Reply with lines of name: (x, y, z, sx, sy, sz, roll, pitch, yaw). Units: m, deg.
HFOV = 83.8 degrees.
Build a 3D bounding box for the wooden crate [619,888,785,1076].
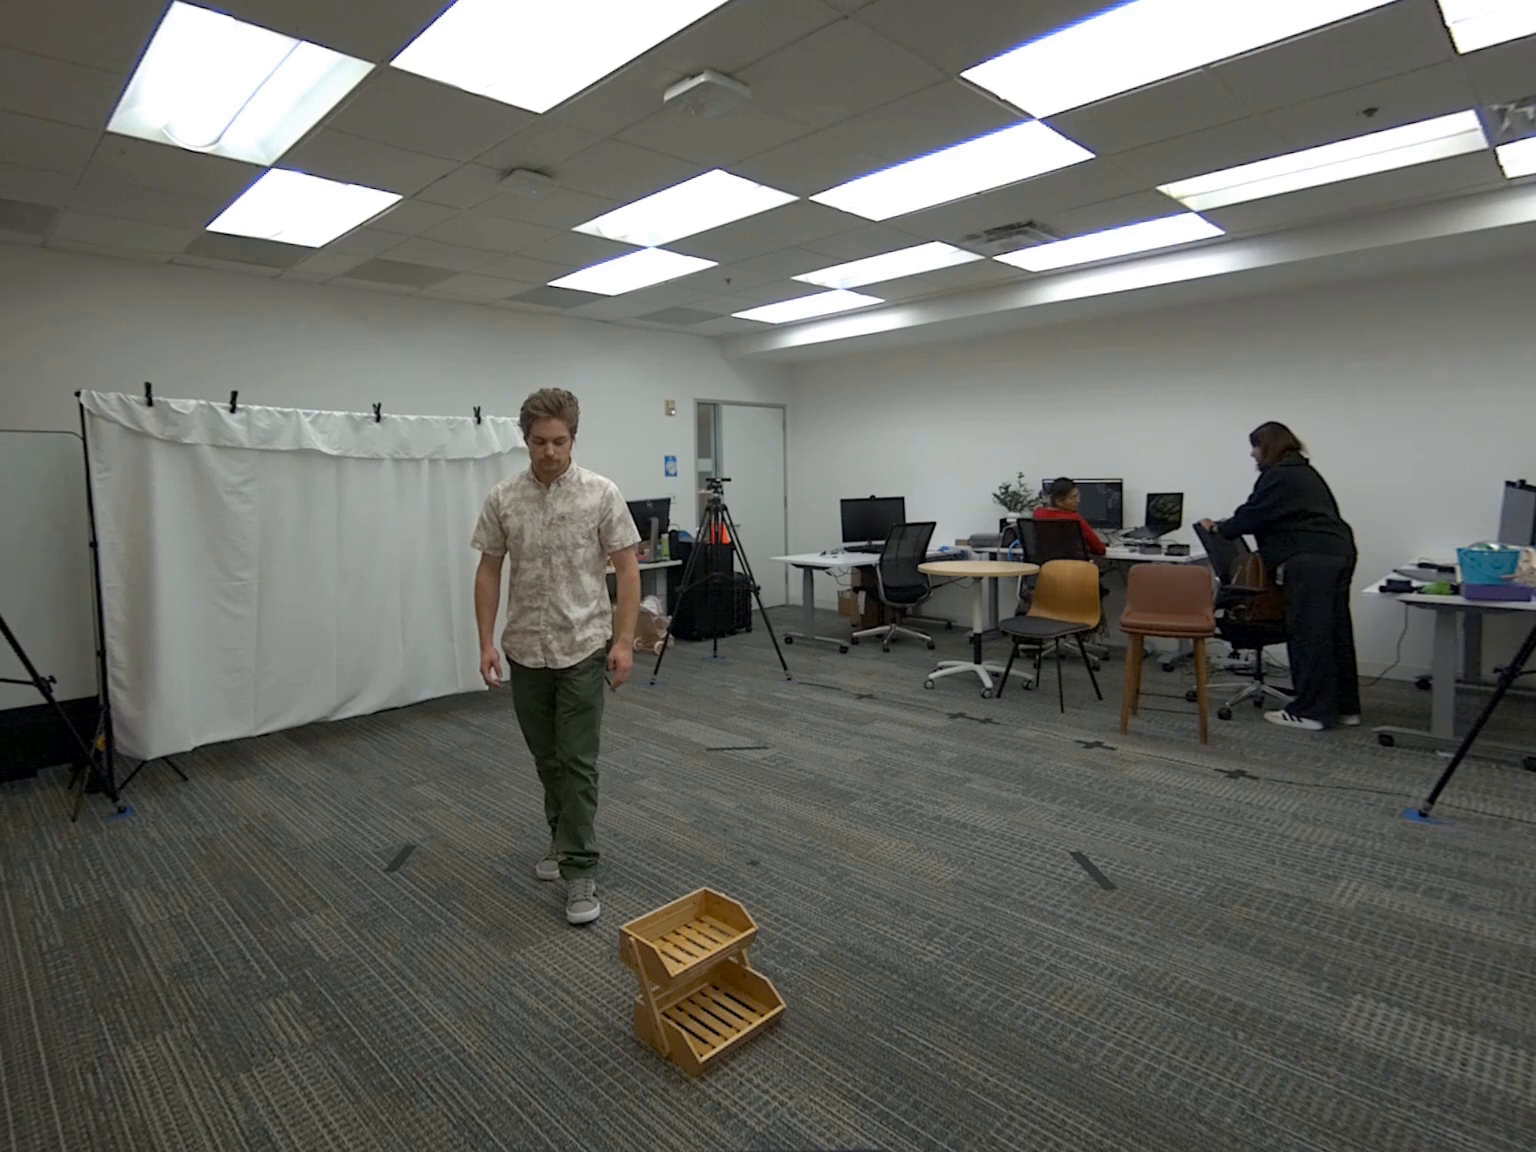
wooden crate: (-0.161, 1.021, 2.188, 0.311, 0.272, 0.316, 3, 7, 45)
